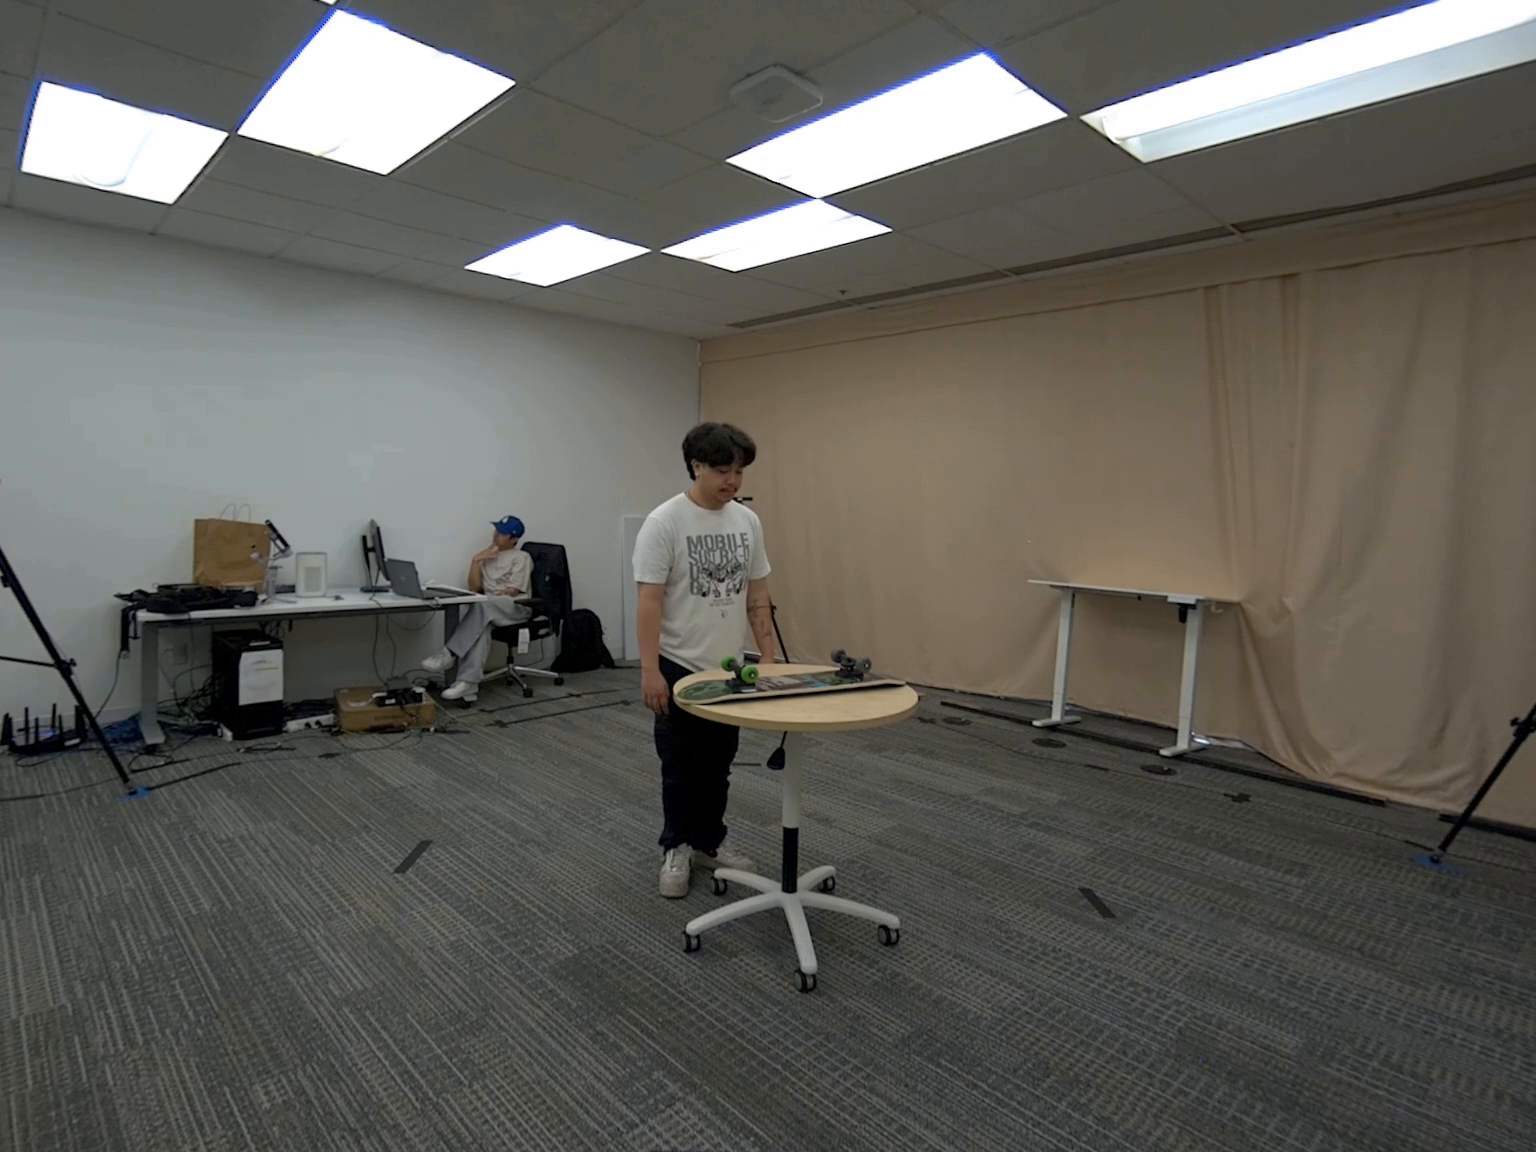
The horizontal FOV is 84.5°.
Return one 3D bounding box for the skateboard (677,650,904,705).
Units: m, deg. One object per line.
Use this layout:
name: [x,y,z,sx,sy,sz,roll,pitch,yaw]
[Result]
skateboard: [0.083,0.313,2.635,0.772,0.110,0.197,-1,6,-24]
